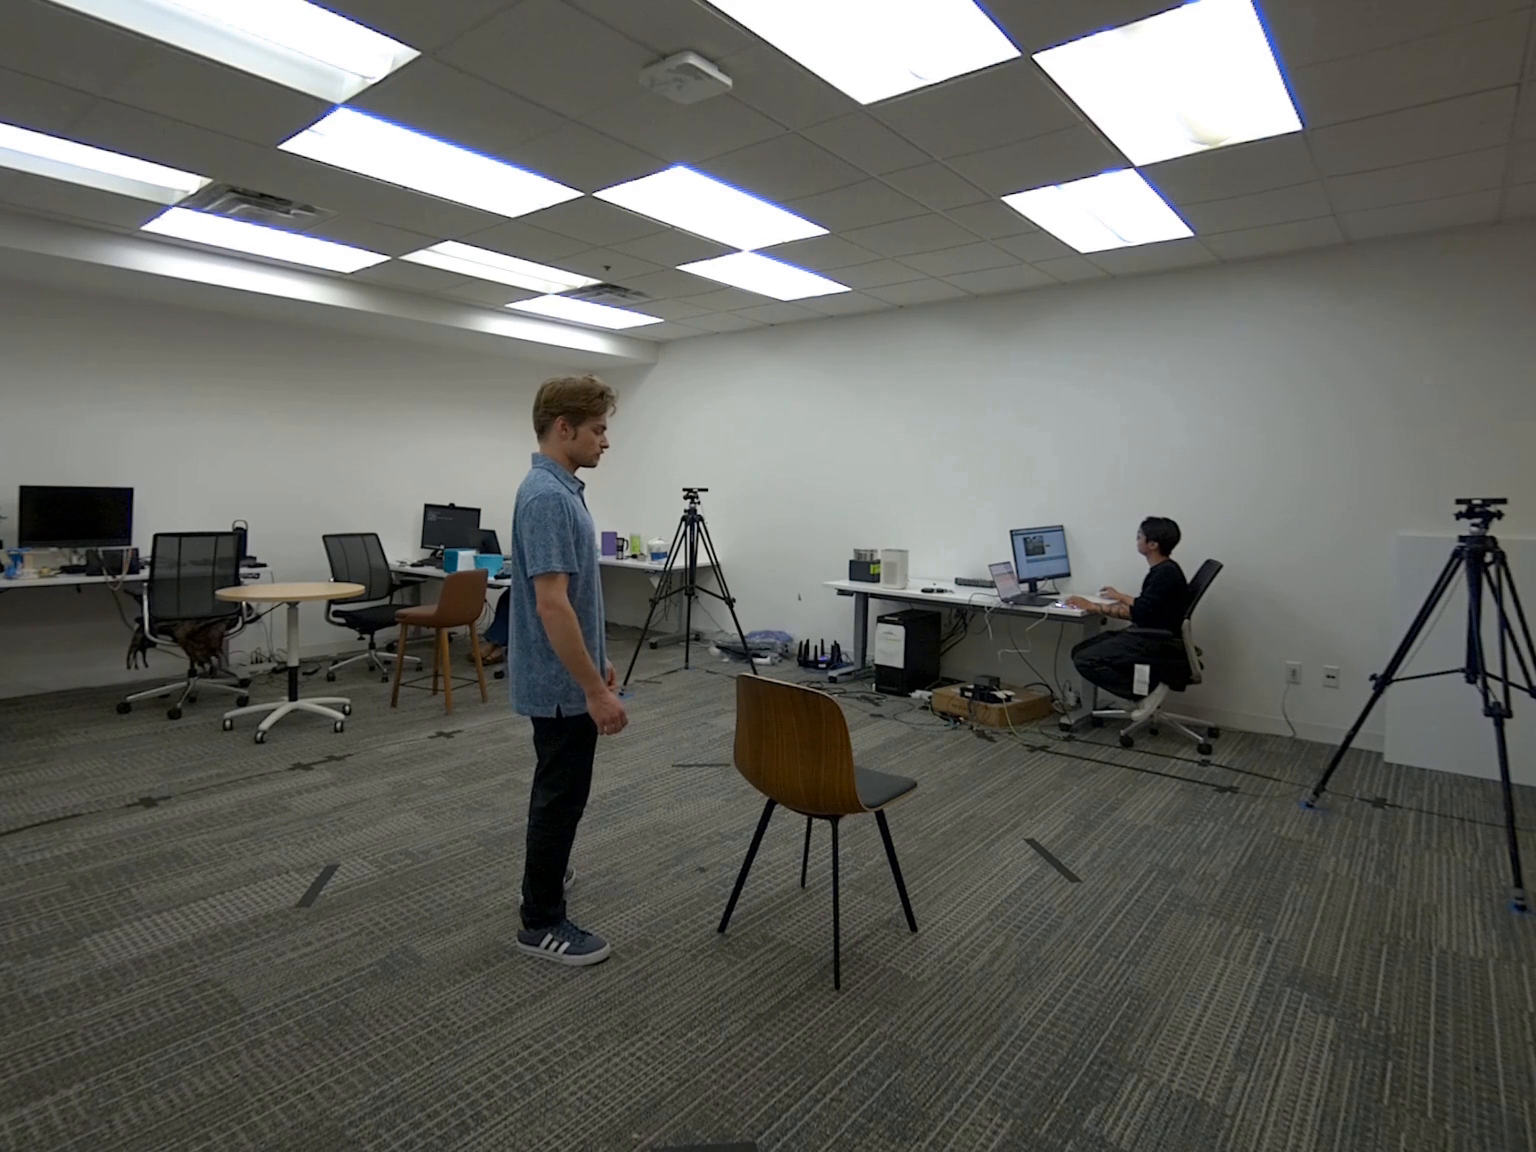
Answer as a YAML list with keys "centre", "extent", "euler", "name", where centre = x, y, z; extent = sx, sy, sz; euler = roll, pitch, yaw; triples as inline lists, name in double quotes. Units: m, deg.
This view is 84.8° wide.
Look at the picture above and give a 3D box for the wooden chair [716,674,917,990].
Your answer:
- centre: [0.167, 0.697, 2.660]
  extent: [0.494, 0.872, 0.509]
  euler: [4, 8, 39]
  name: "wooden chair"
